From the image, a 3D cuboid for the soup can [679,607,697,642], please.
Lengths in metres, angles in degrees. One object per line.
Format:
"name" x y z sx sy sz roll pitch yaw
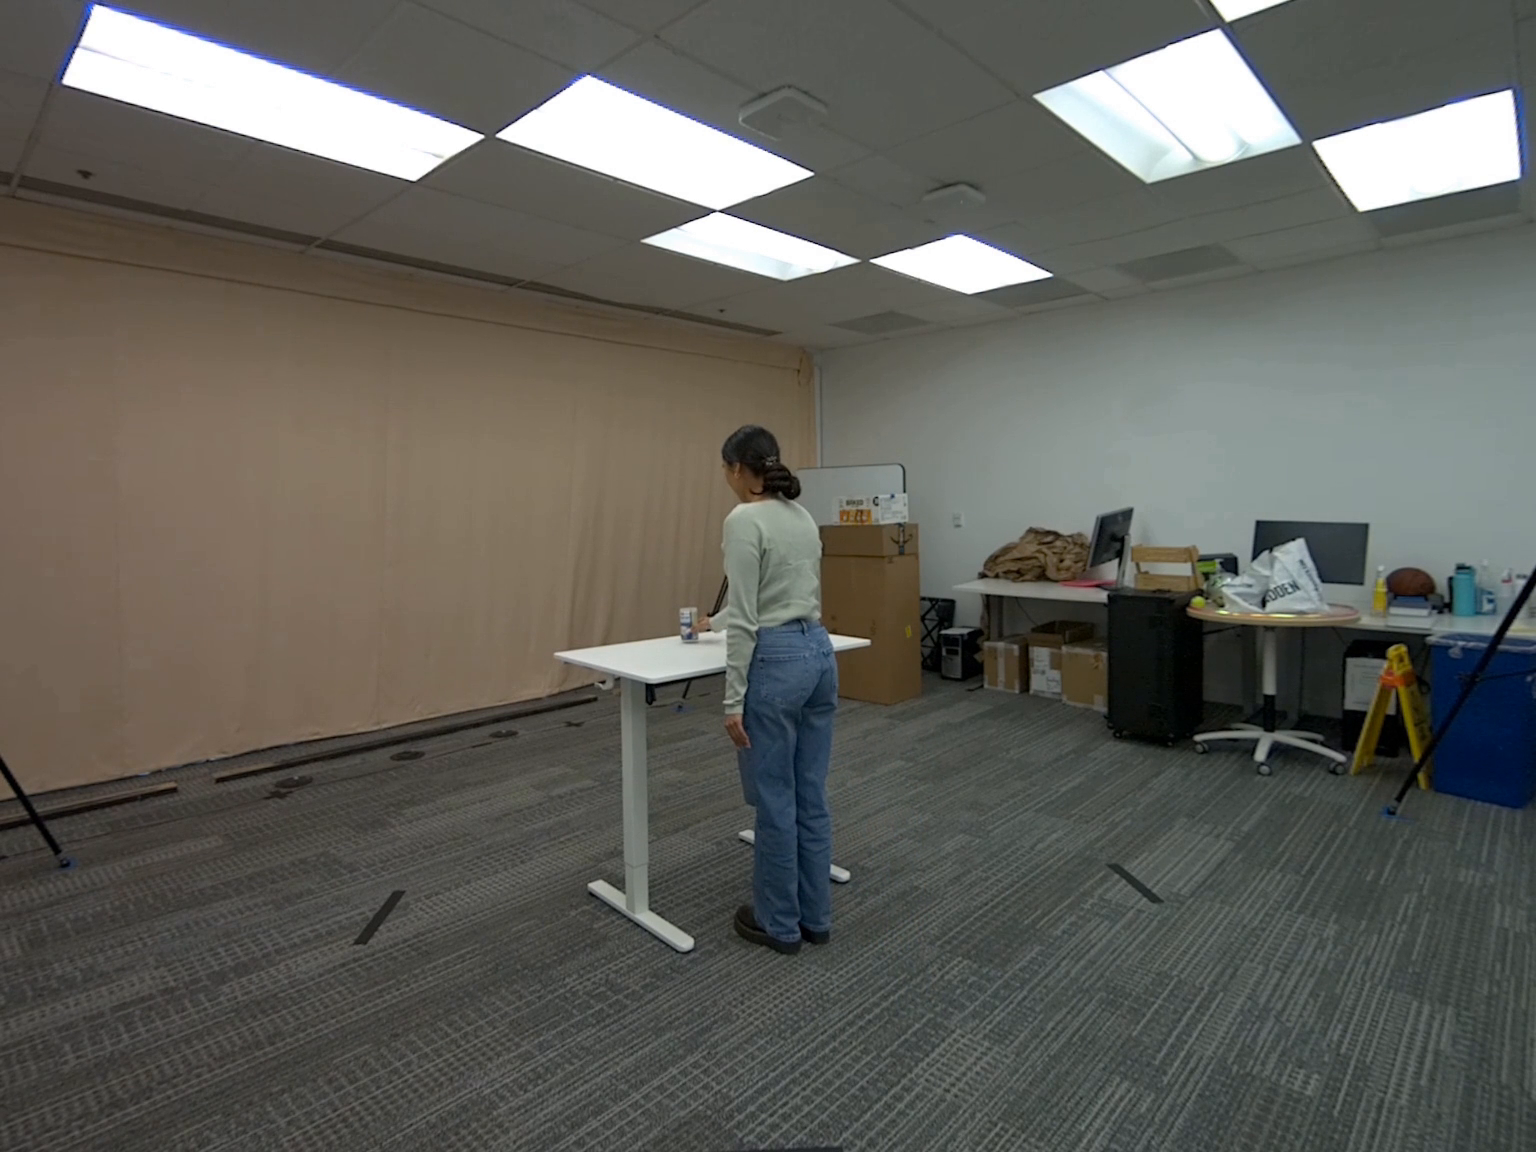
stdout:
"soup can" -0.295 0.179 3.132 0.067 0.122 0.067 -2 -2 -2
